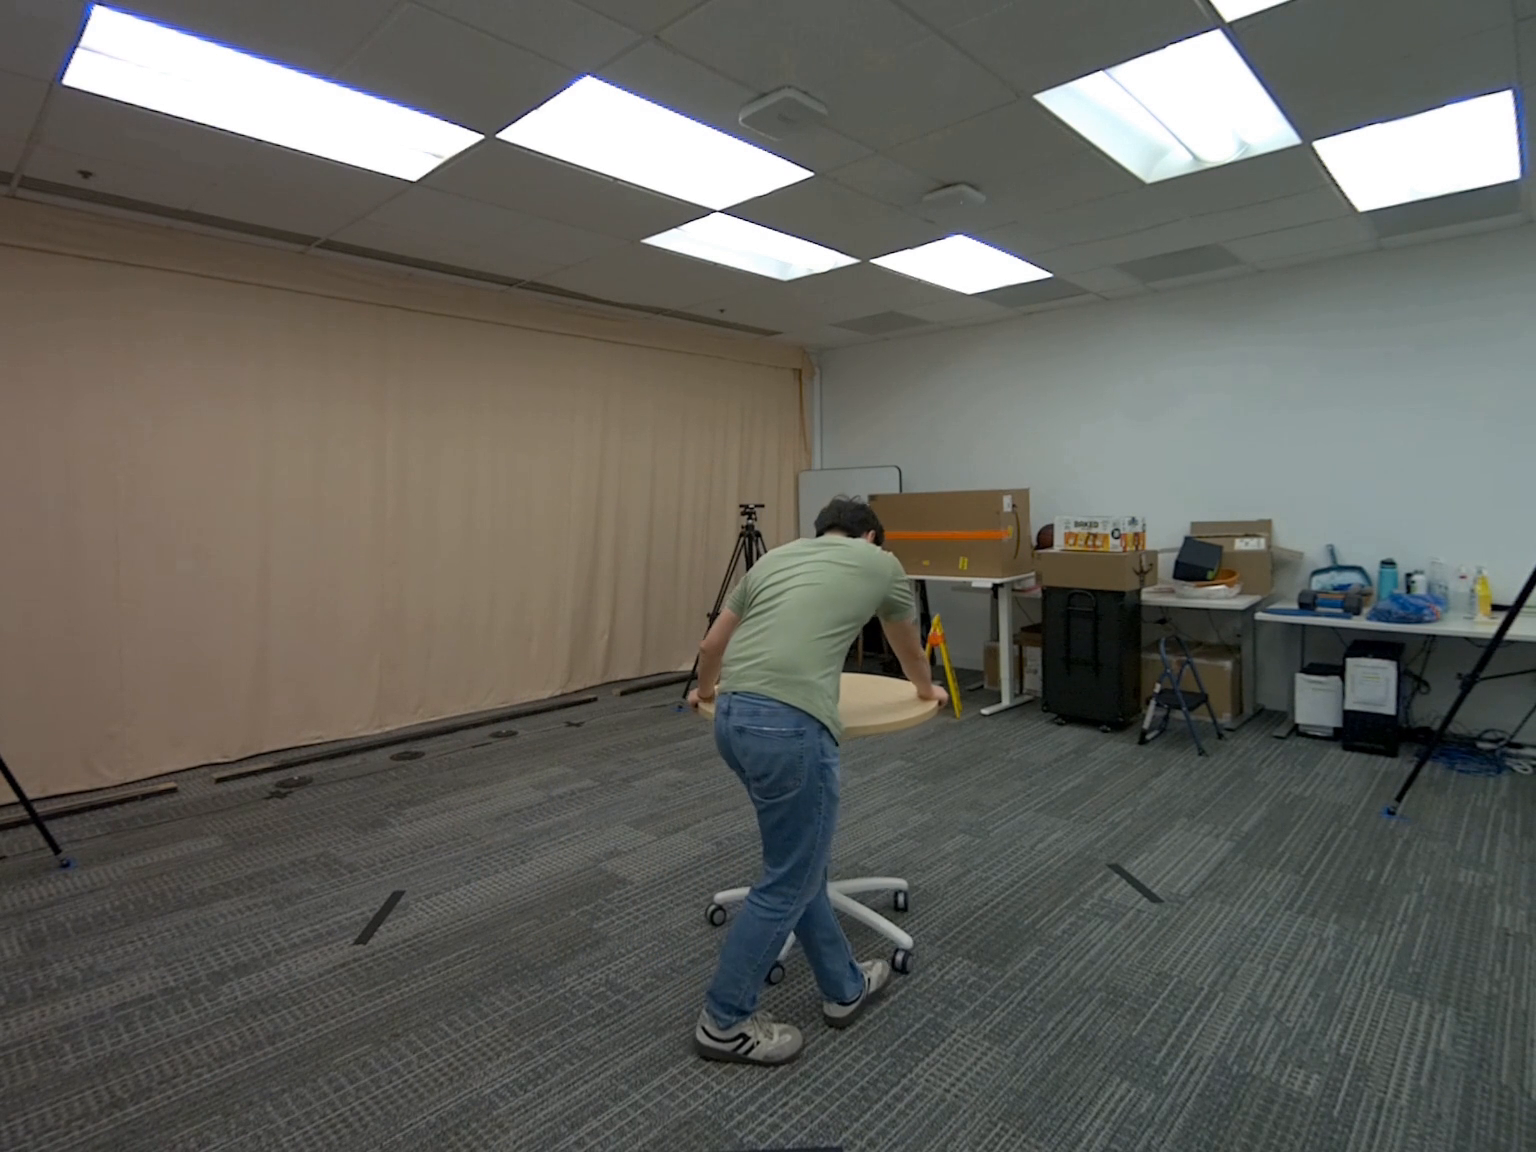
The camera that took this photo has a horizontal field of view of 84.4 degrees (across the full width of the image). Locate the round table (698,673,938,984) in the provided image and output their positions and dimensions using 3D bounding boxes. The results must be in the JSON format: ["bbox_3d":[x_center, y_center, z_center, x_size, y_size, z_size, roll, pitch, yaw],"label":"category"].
[{"bbox_3d":[0.171,0.775,2.732,0.763,0.792,0.767,-1,4,-2],"label":"round table"}]
